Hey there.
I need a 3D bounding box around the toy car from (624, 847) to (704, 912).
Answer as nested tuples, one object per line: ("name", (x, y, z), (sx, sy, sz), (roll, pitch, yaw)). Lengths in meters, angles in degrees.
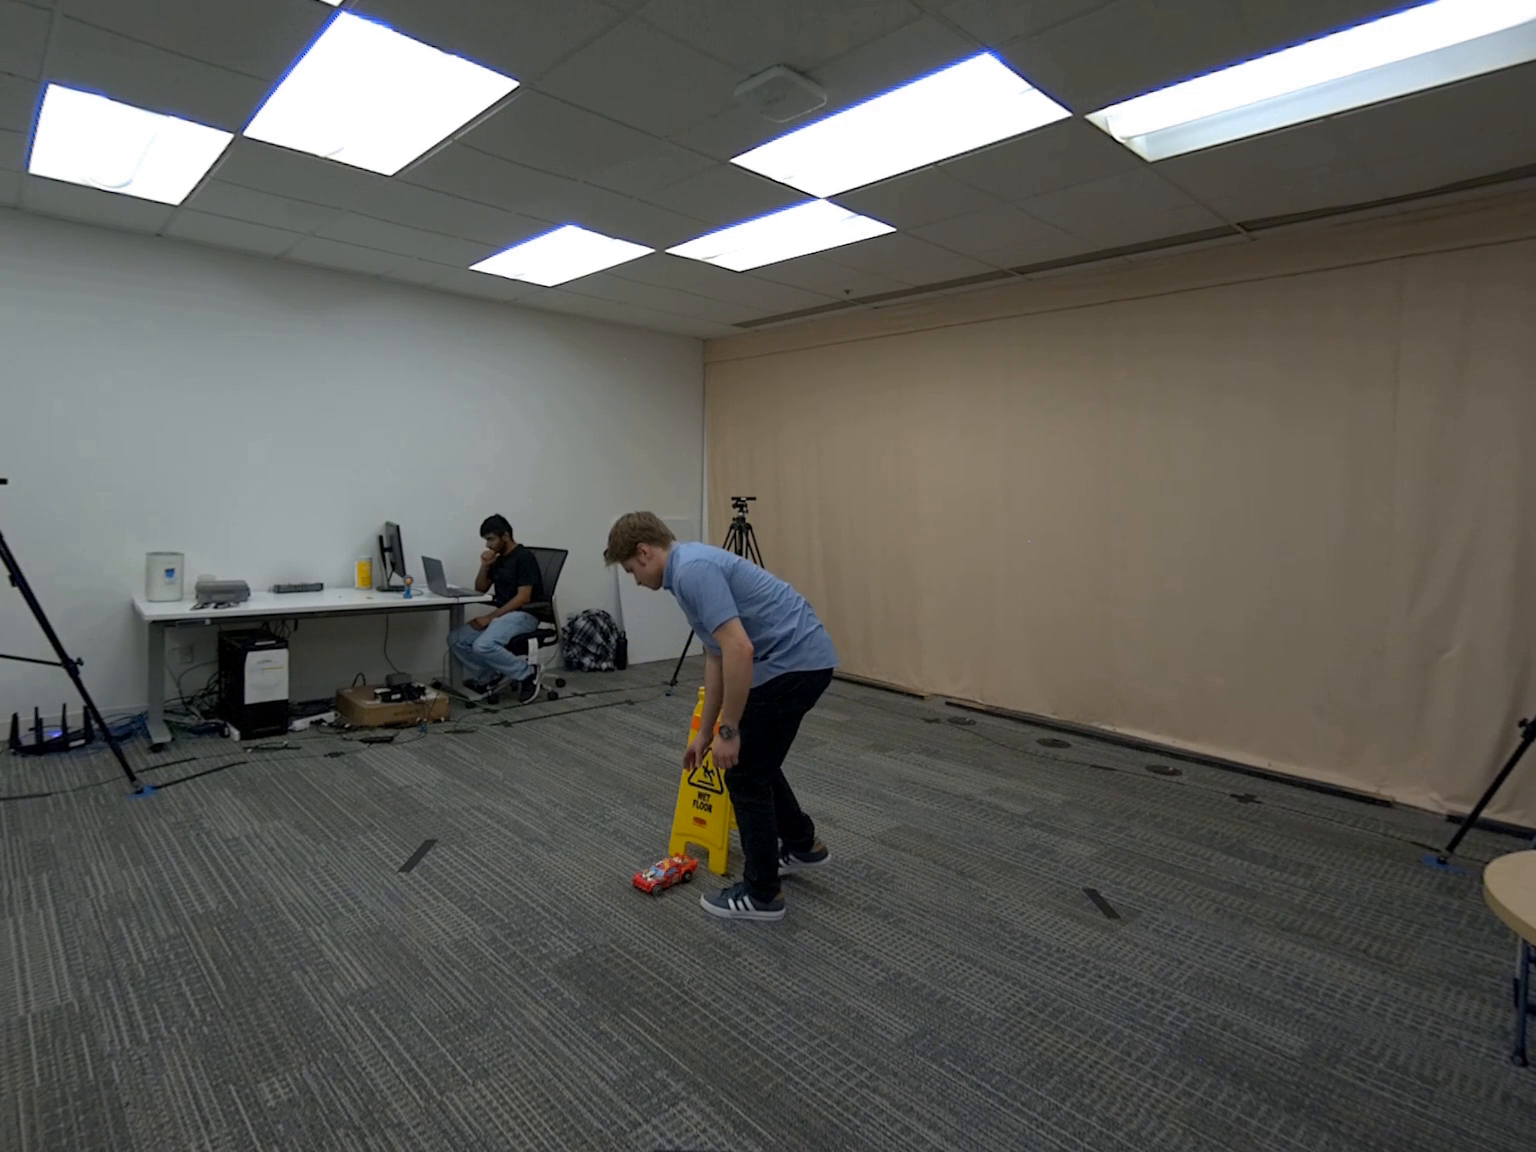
("toy car", (-0.371, 1.082, 3.034), (0.133, 0.082, 0.250), (3, 14, 42))
